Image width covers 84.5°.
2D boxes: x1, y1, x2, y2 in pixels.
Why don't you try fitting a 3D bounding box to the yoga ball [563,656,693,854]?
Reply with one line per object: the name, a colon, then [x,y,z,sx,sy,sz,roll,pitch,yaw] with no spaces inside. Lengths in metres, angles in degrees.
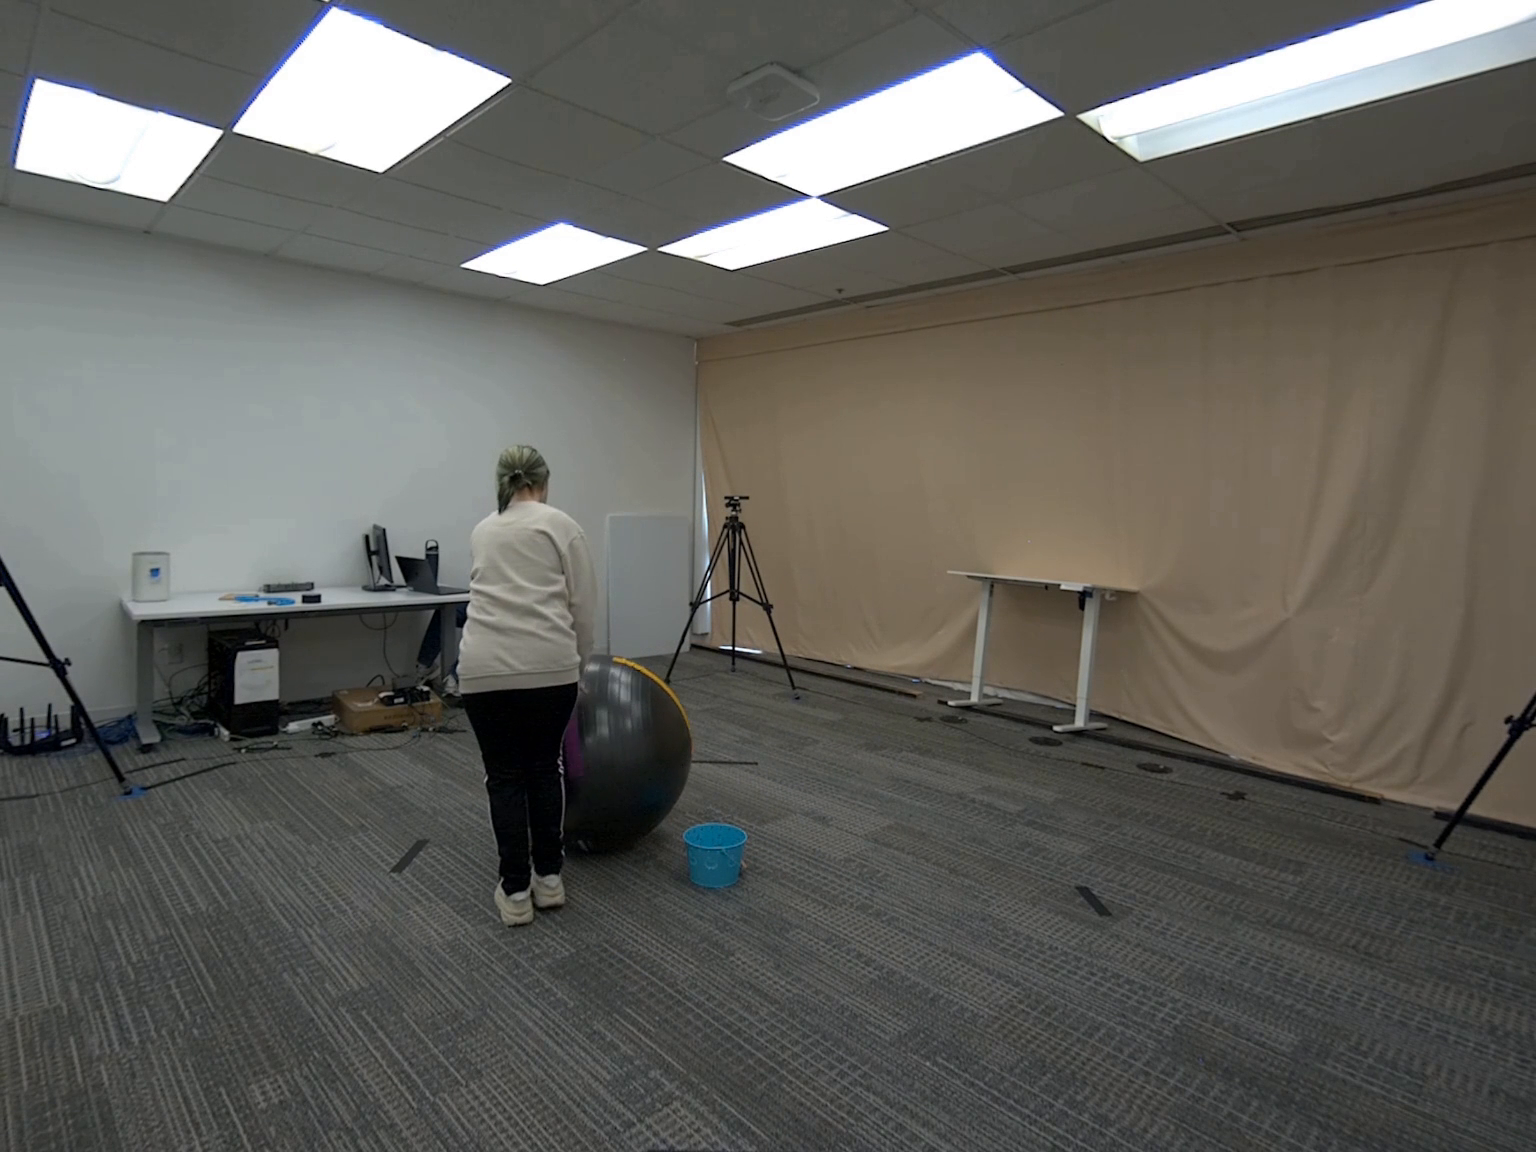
yoga ball: [-0.691,0.700,3.349,0.757,0.756,0.761,1,4,-1]
